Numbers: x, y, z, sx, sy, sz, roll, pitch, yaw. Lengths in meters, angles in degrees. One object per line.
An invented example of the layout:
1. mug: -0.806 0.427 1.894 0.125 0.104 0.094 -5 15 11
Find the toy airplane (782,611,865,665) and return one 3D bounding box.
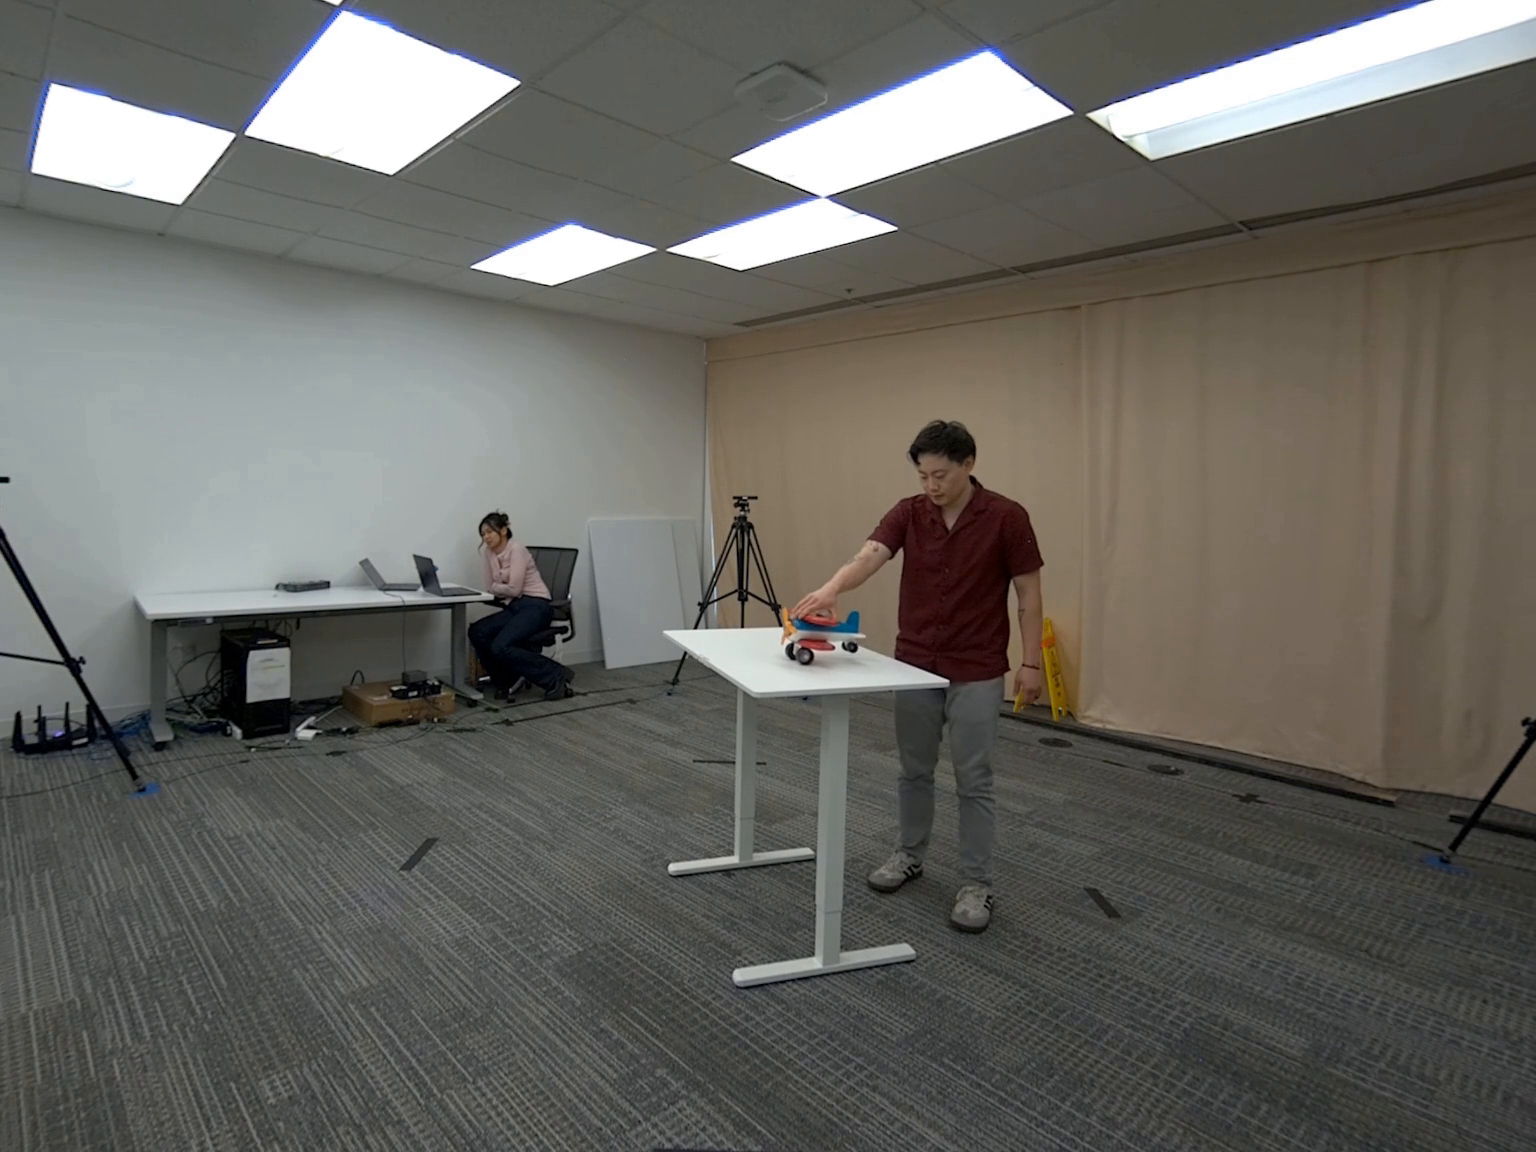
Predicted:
1. toy airplane: 0.159 0.185 2.667 0.257 0.155 0.255 1 11 42
